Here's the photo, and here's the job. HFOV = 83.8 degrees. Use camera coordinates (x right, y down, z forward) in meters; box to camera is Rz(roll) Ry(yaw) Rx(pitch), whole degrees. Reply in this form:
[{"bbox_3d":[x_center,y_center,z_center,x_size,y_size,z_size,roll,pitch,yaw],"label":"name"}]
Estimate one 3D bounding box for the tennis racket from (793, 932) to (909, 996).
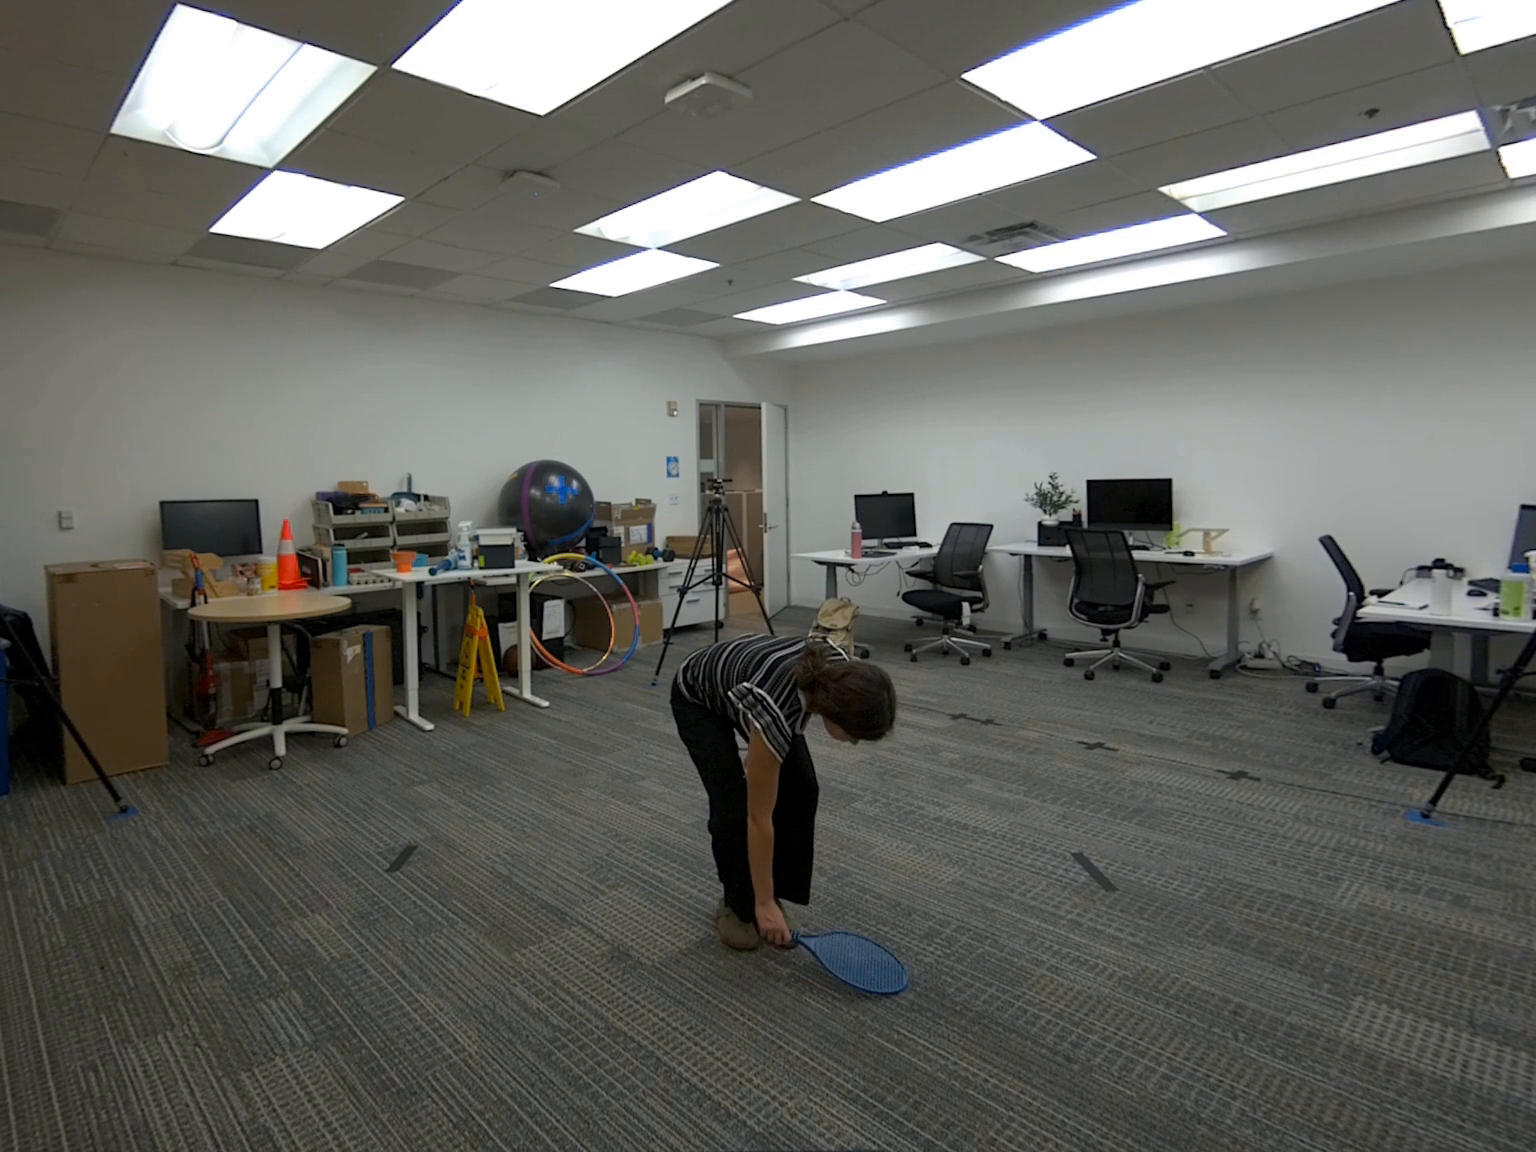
[{"bbox_3d":[0.185,1.058,2.390,0.435,0.031,0.214,14,14,4],"label":"tennis racket"}]
